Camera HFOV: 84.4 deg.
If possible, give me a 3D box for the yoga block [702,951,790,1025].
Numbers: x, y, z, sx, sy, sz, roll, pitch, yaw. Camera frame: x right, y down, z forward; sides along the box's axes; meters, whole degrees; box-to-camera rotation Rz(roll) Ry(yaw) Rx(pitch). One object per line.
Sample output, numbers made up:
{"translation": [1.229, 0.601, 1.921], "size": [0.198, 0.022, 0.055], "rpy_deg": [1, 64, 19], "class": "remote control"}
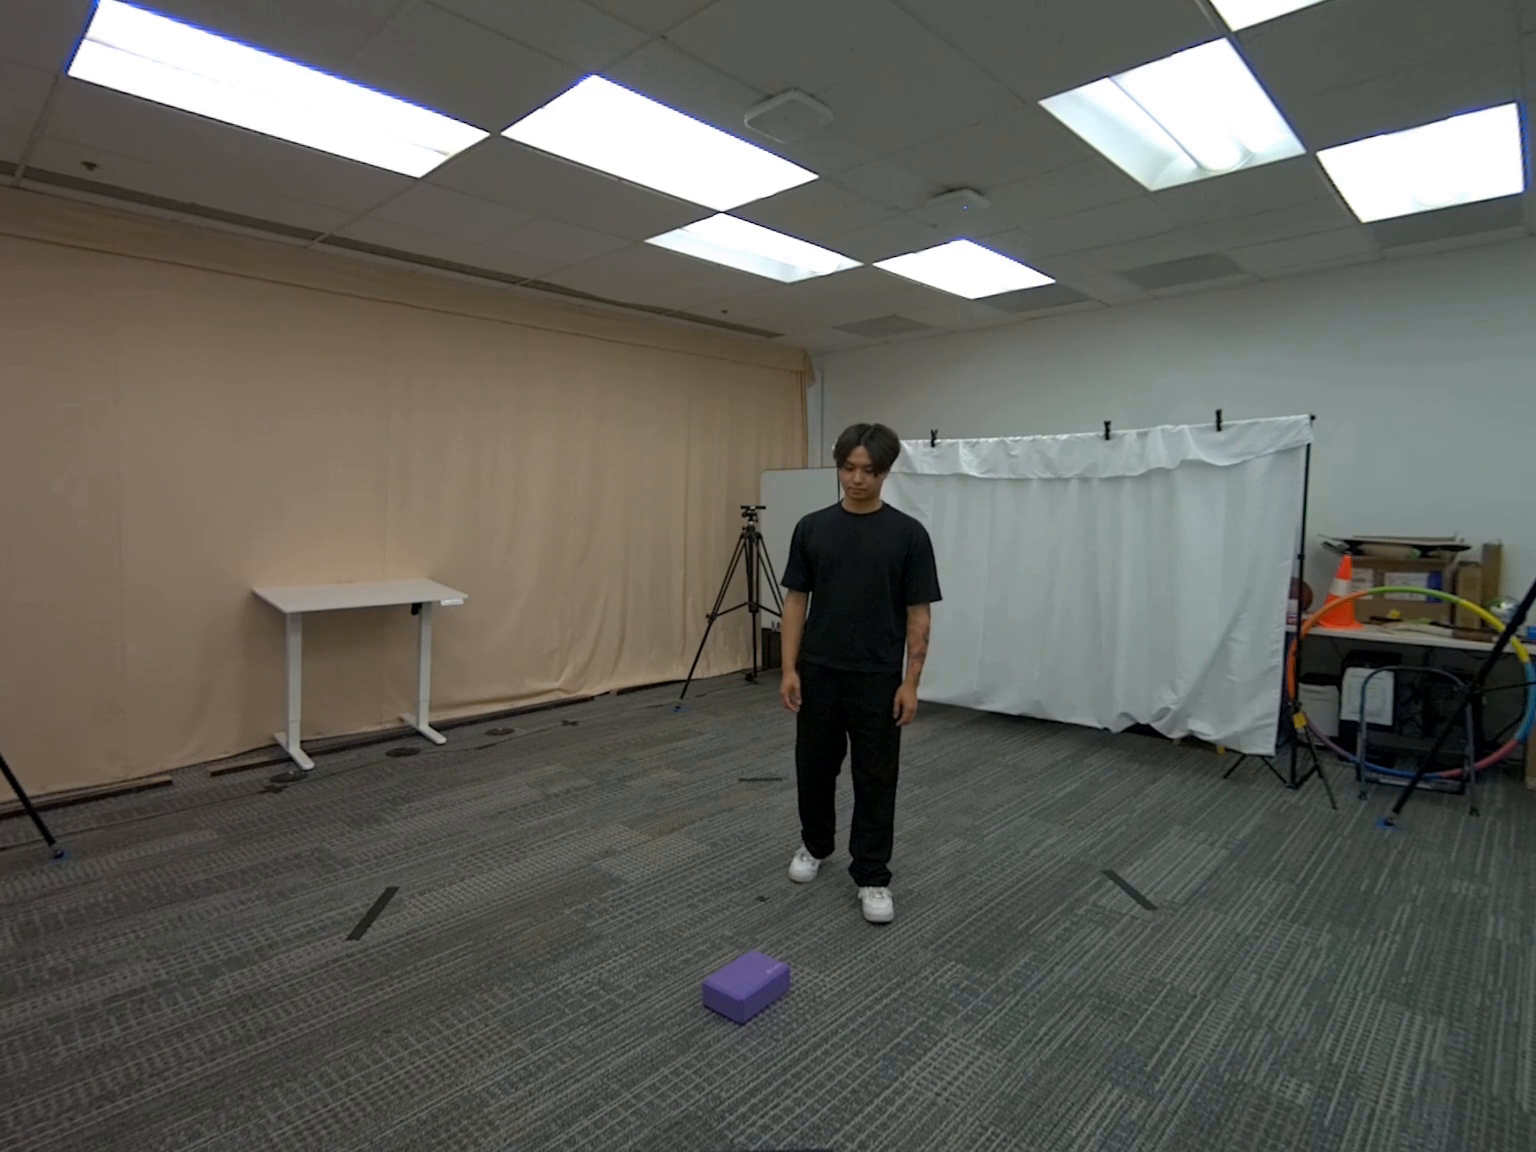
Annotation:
{"translation": [-0.056, 1.159, 2.373], "size": [0.154, 0.076, 0.222], "rpy_deg": [5, 6, 39], "class": "yoga block"}
